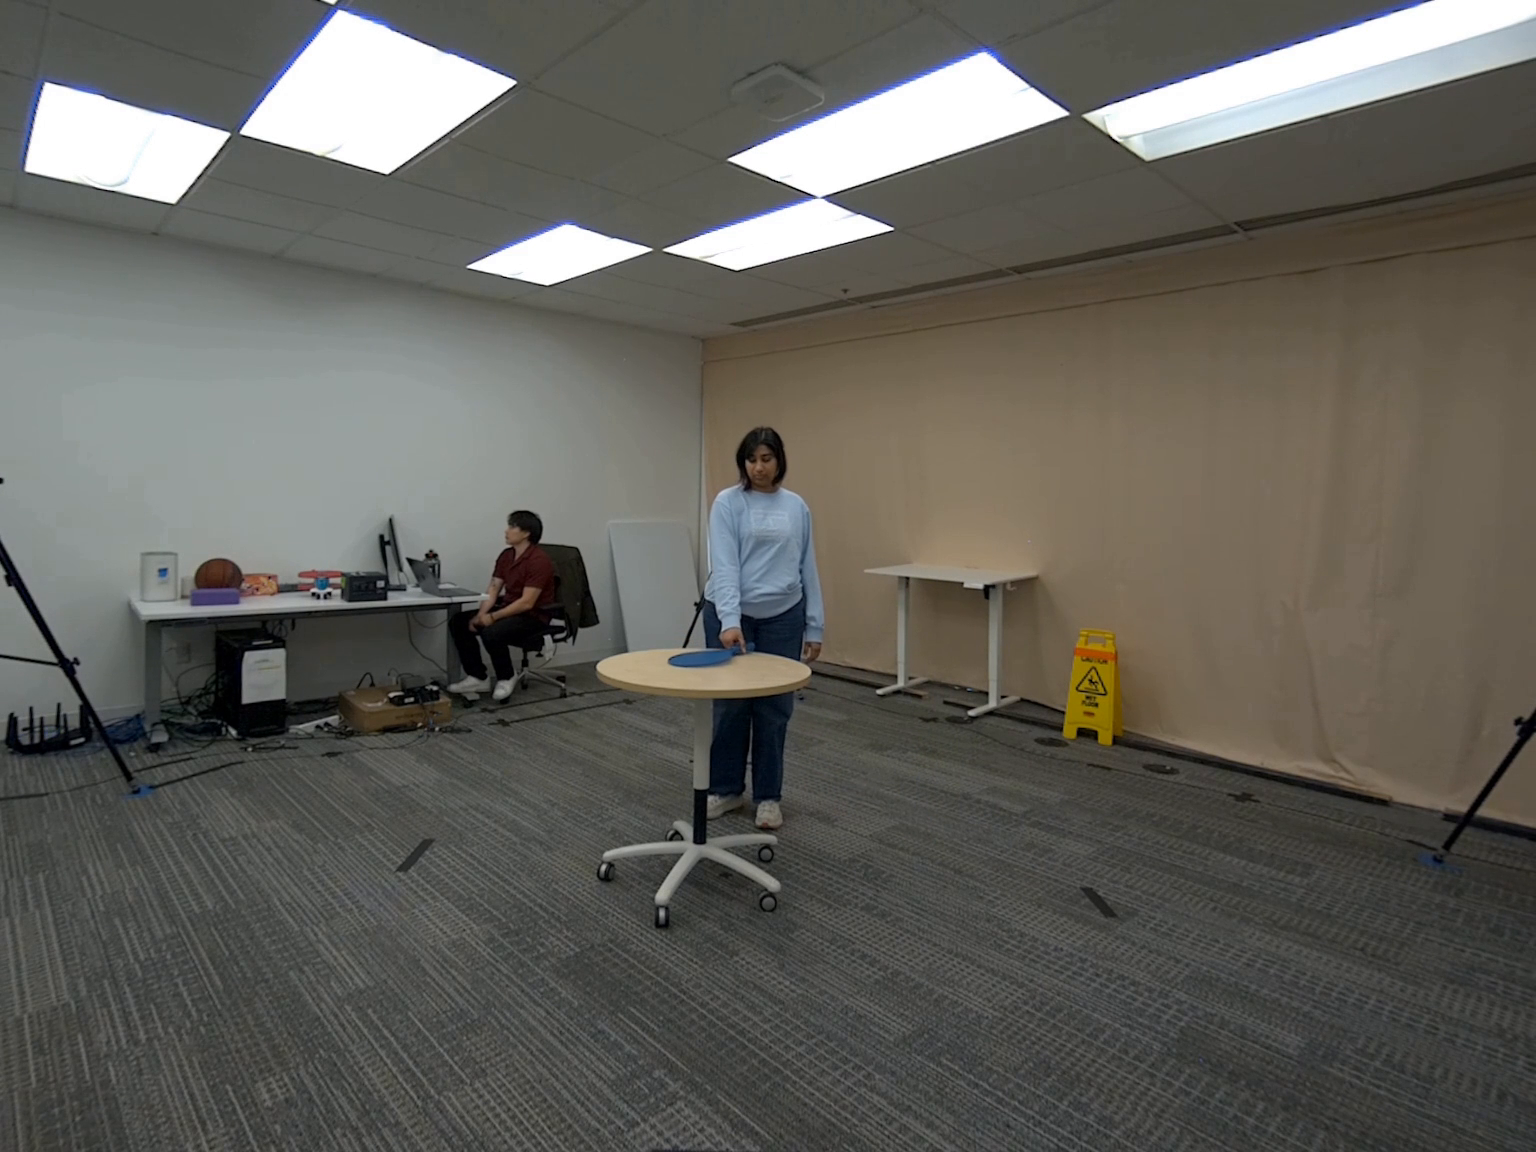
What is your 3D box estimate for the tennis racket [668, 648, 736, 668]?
[{"bbox_3d":[-0.215,0.297,3.174,0.219,0.031,0.424,5,9,41],"label":"tennis racket"}]
